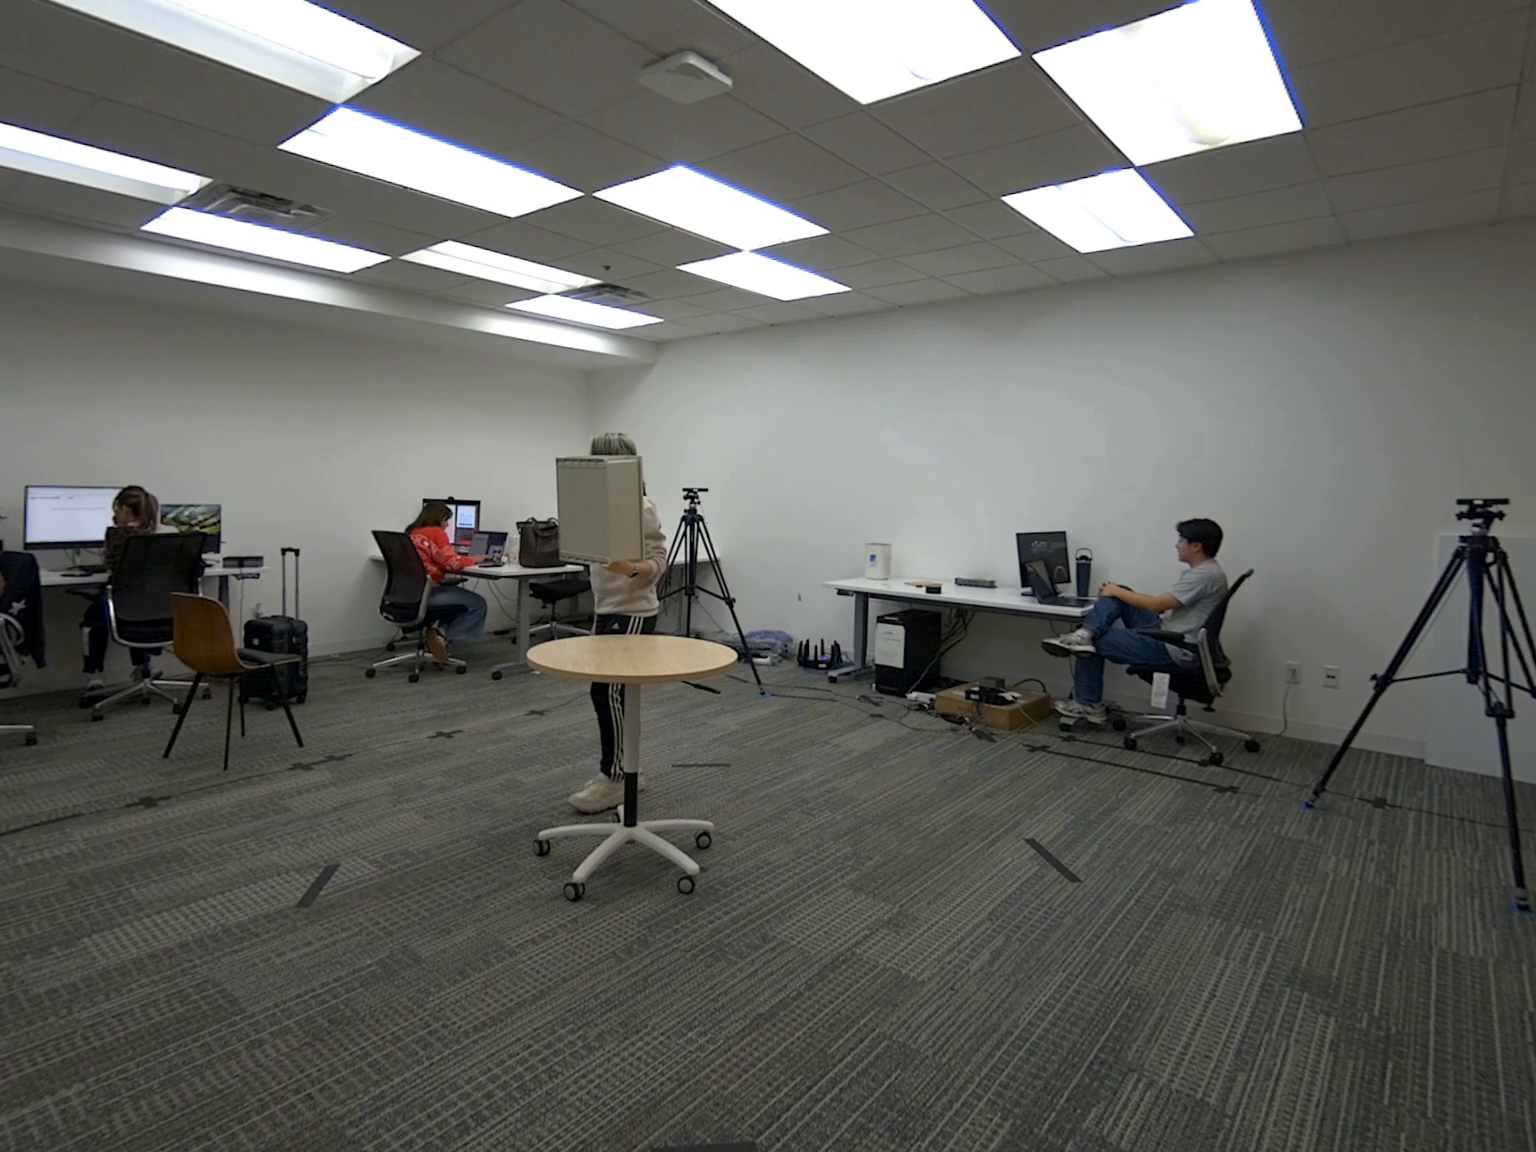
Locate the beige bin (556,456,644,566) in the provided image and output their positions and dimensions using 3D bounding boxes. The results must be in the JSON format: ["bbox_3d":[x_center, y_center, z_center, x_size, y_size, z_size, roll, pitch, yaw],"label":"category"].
[{"bbox_3d":[-0.704,-0.275,3.401,0.391,0.419,0.184,7,10,42],"label":"beige bin"}]
